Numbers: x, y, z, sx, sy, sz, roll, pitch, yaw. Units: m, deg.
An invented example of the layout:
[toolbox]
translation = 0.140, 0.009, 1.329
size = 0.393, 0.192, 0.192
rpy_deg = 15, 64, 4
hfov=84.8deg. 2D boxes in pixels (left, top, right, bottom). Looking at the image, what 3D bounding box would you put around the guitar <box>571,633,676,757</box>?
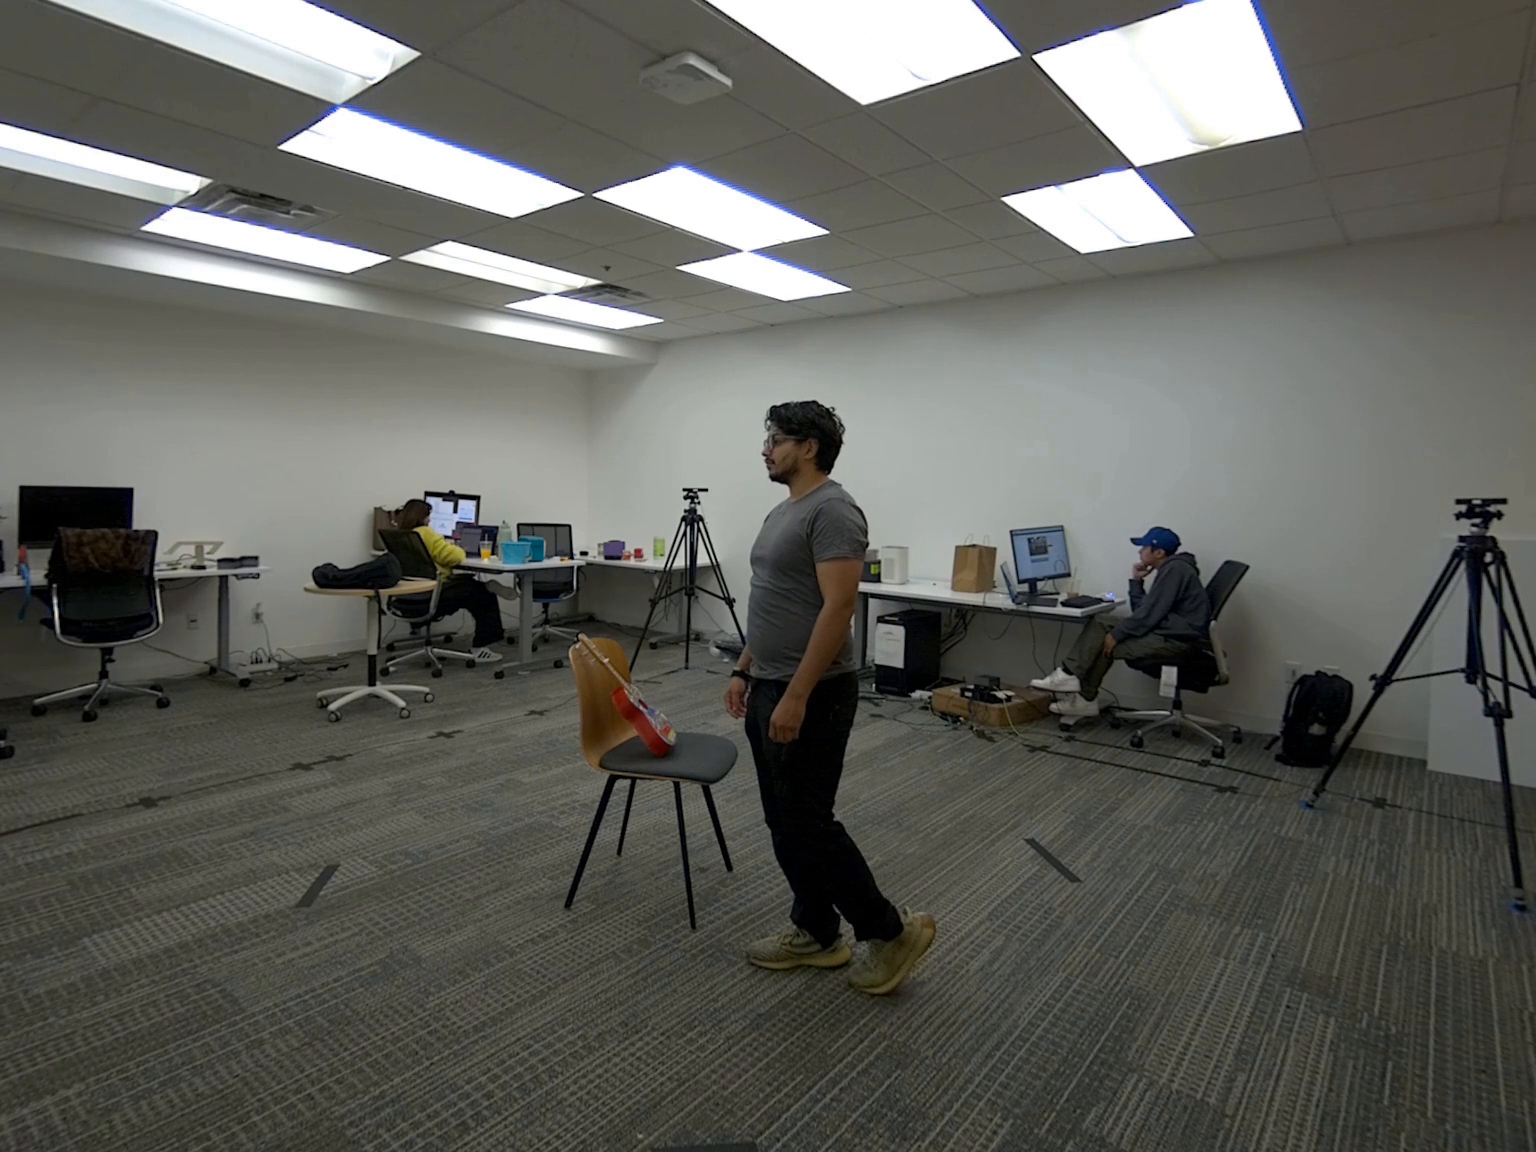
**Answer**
[guitar]
translation = -0.505, 0.399, 2.974
size = 0.071, 0.503, 0.191
rpy_deg = -41, -7, 6
